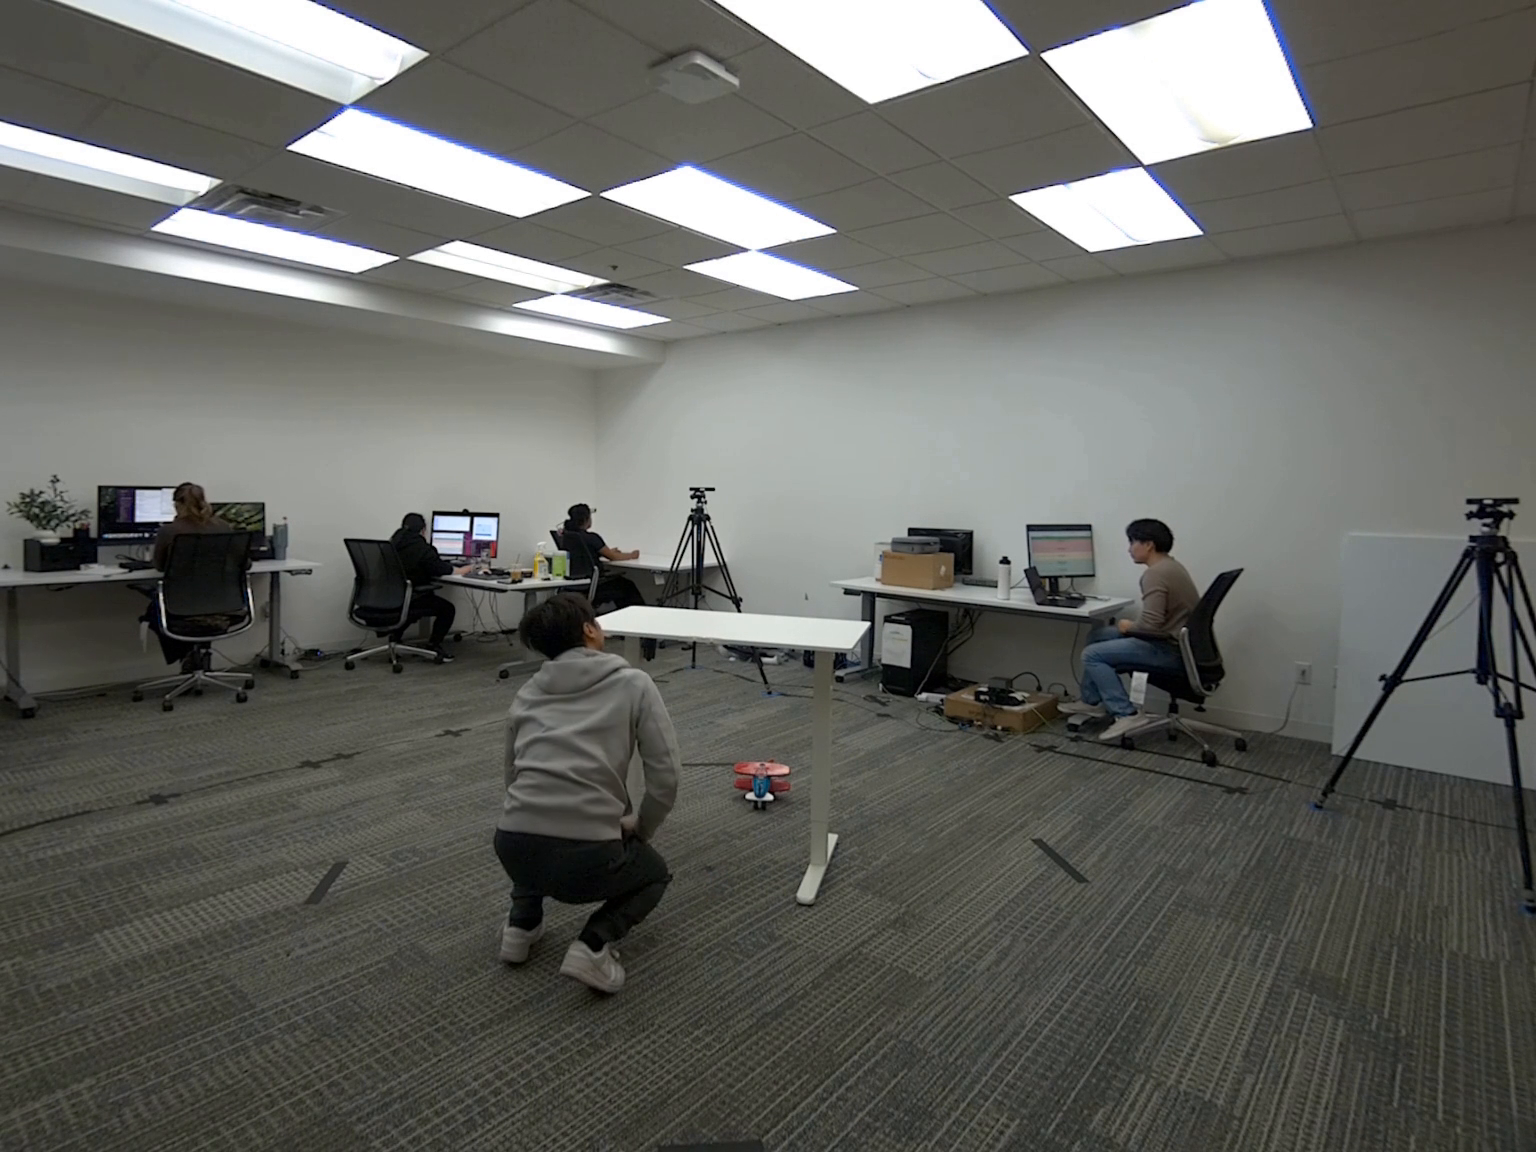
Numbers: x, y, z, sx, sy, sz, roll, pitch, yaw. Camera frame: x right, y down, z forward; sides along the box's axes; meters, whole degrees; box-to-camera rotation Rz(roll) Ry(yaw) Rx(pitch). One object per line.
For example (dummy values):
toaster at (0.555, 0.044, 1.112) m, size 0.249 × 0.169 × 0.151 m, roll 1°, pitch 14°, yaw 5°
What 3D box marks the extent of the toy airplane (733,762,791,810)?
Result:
toy airplane at (-0.022, 0.931, 3.800) m, size 0.245 × 0.156 × 0.266 m, roll -1°, pitch 4°, yaw -23°
